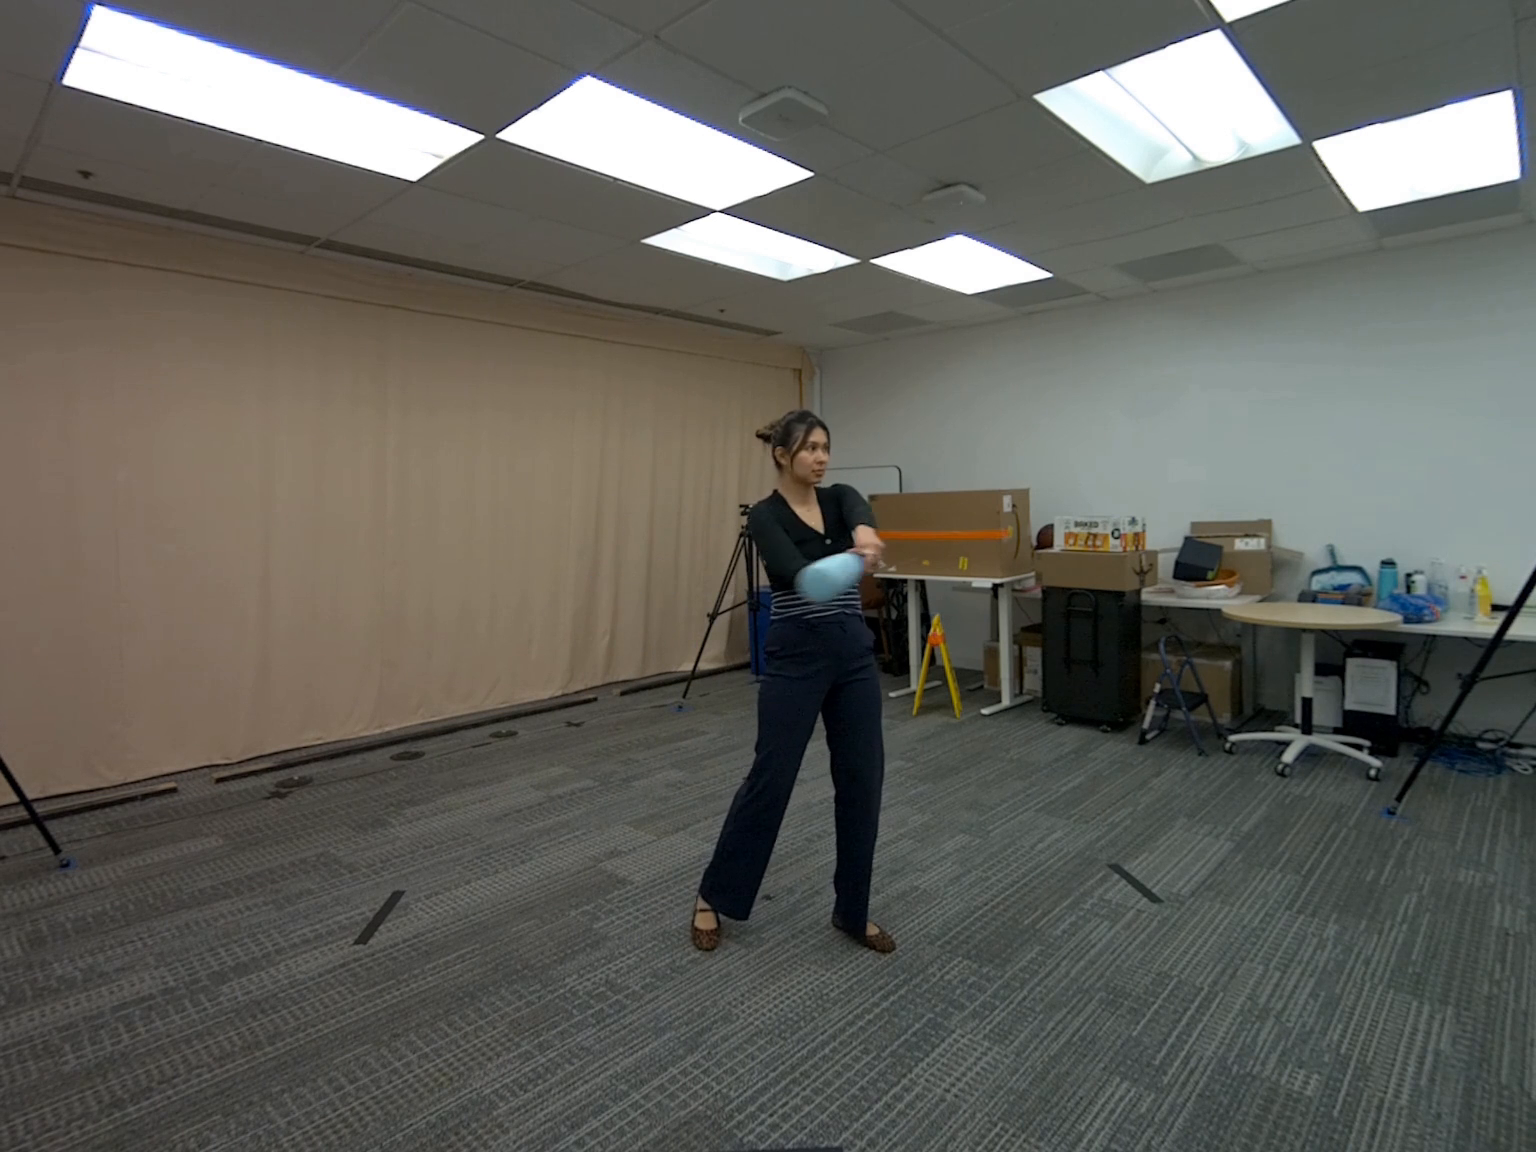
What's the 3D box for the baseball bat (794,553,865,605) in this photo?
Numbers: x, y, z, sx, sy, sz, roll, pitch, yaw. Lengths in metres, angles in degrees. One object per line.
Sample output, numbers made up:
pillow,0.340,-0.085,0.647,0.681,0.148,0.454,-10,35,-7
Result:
baseball bat,0.189,-0.026,2.093,0.091,0.088,0.534,1,10,20
